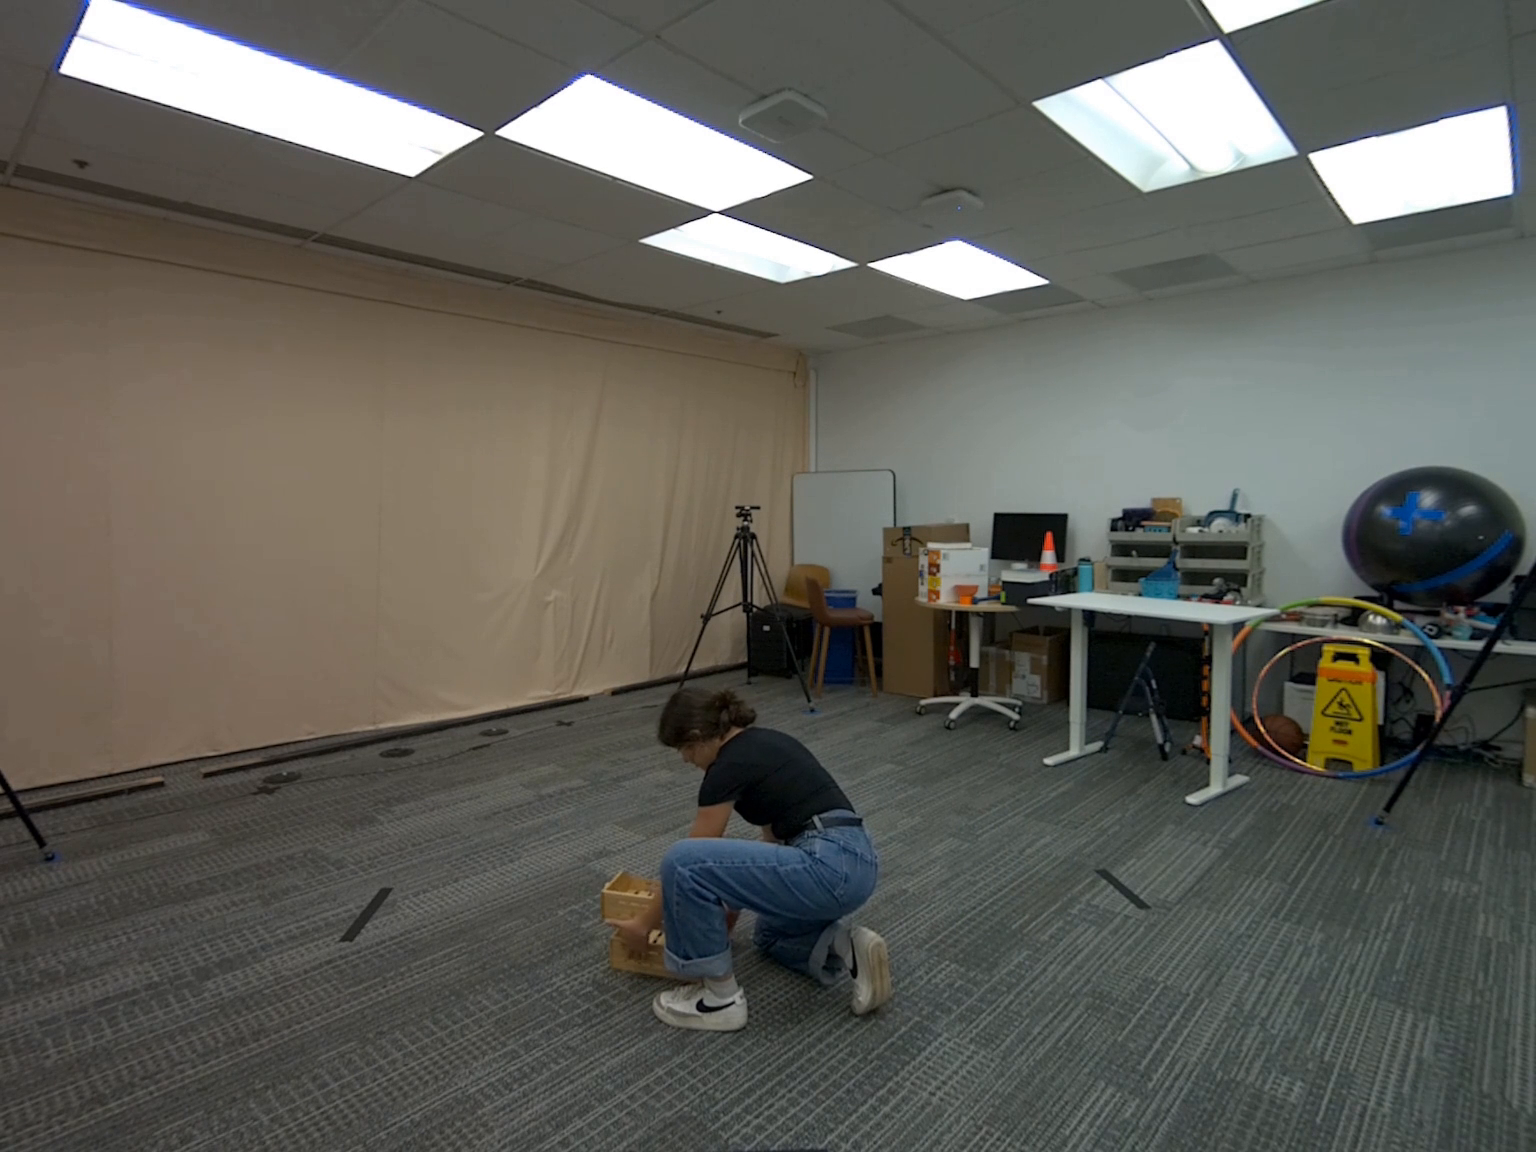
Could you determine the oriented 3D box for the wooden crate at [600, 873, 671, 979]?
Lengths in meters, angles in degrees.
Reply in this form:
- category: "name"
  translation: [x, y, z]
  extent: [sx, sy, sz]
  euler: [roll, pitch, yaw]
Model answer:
- category: "wooden crate"
  translation: [-0.306, 1.045, 2.587]
  extent: [0.330, 0.273, 0.298]
  euler: [1, 3, 14]
